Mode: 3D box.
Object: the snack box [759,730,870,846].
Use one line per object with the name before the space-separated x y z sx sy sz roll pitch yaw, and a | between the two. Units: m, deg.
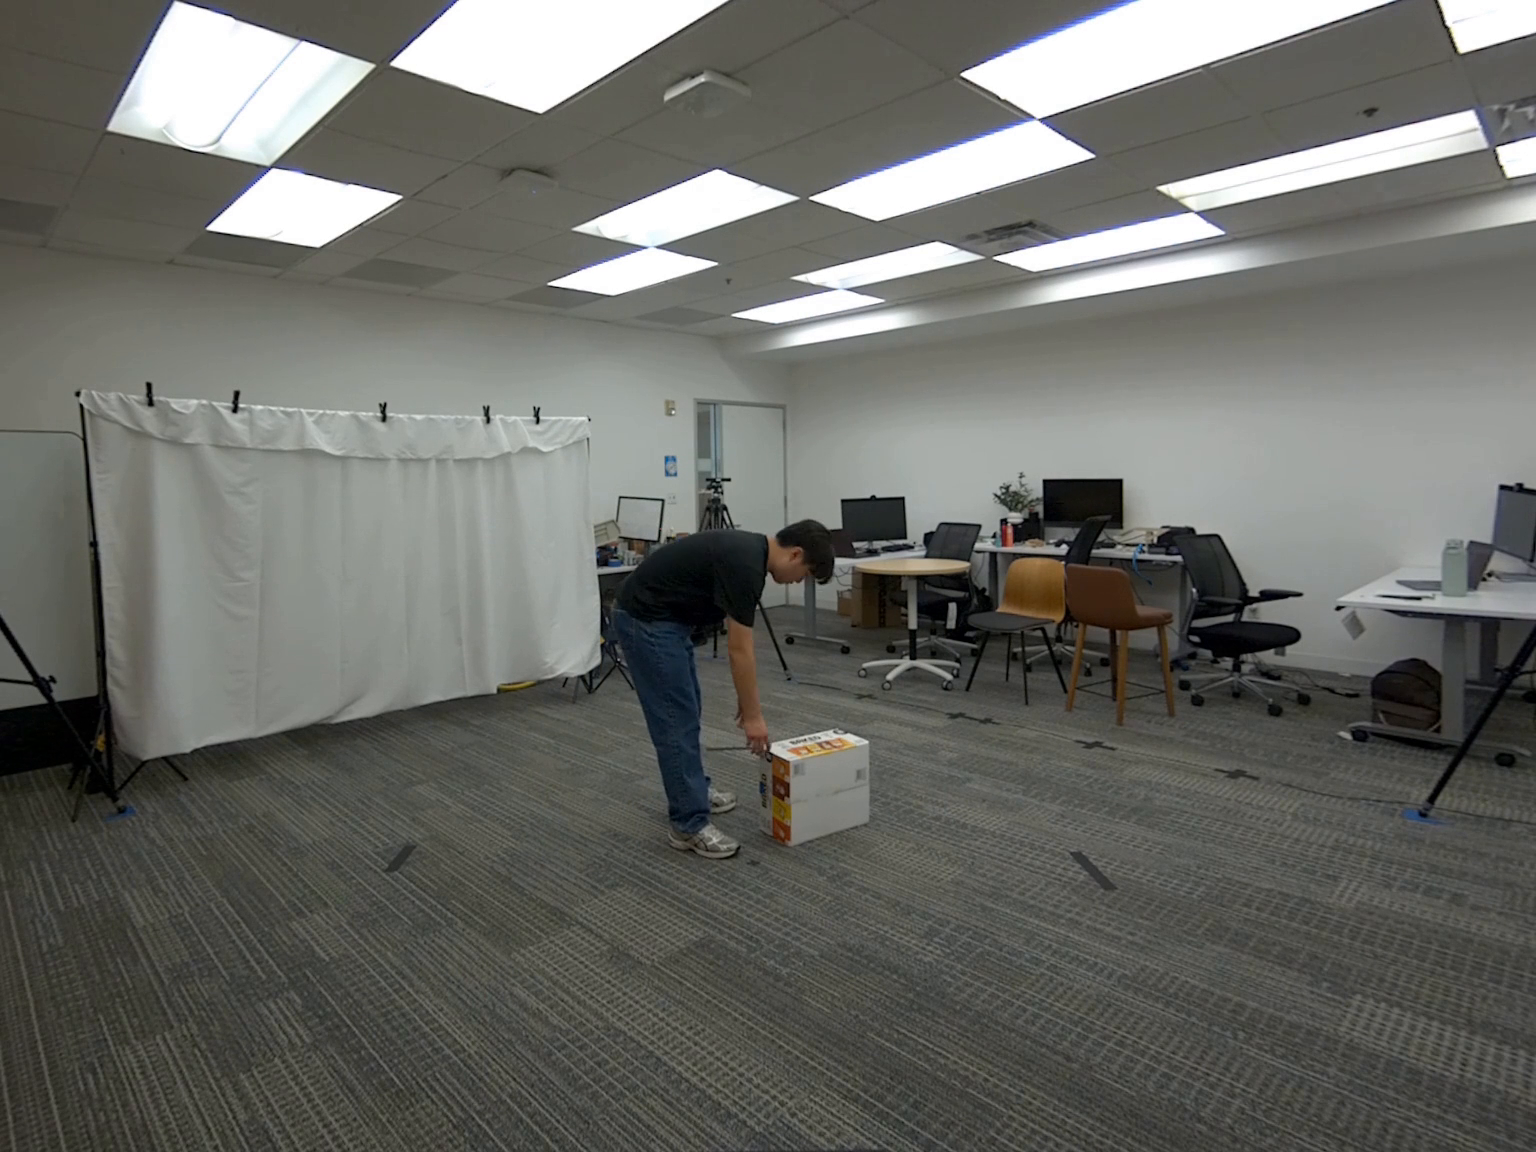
snack box | 0.189 0.835 3.406 0.395 0.339 0.212 -4 7 -32
